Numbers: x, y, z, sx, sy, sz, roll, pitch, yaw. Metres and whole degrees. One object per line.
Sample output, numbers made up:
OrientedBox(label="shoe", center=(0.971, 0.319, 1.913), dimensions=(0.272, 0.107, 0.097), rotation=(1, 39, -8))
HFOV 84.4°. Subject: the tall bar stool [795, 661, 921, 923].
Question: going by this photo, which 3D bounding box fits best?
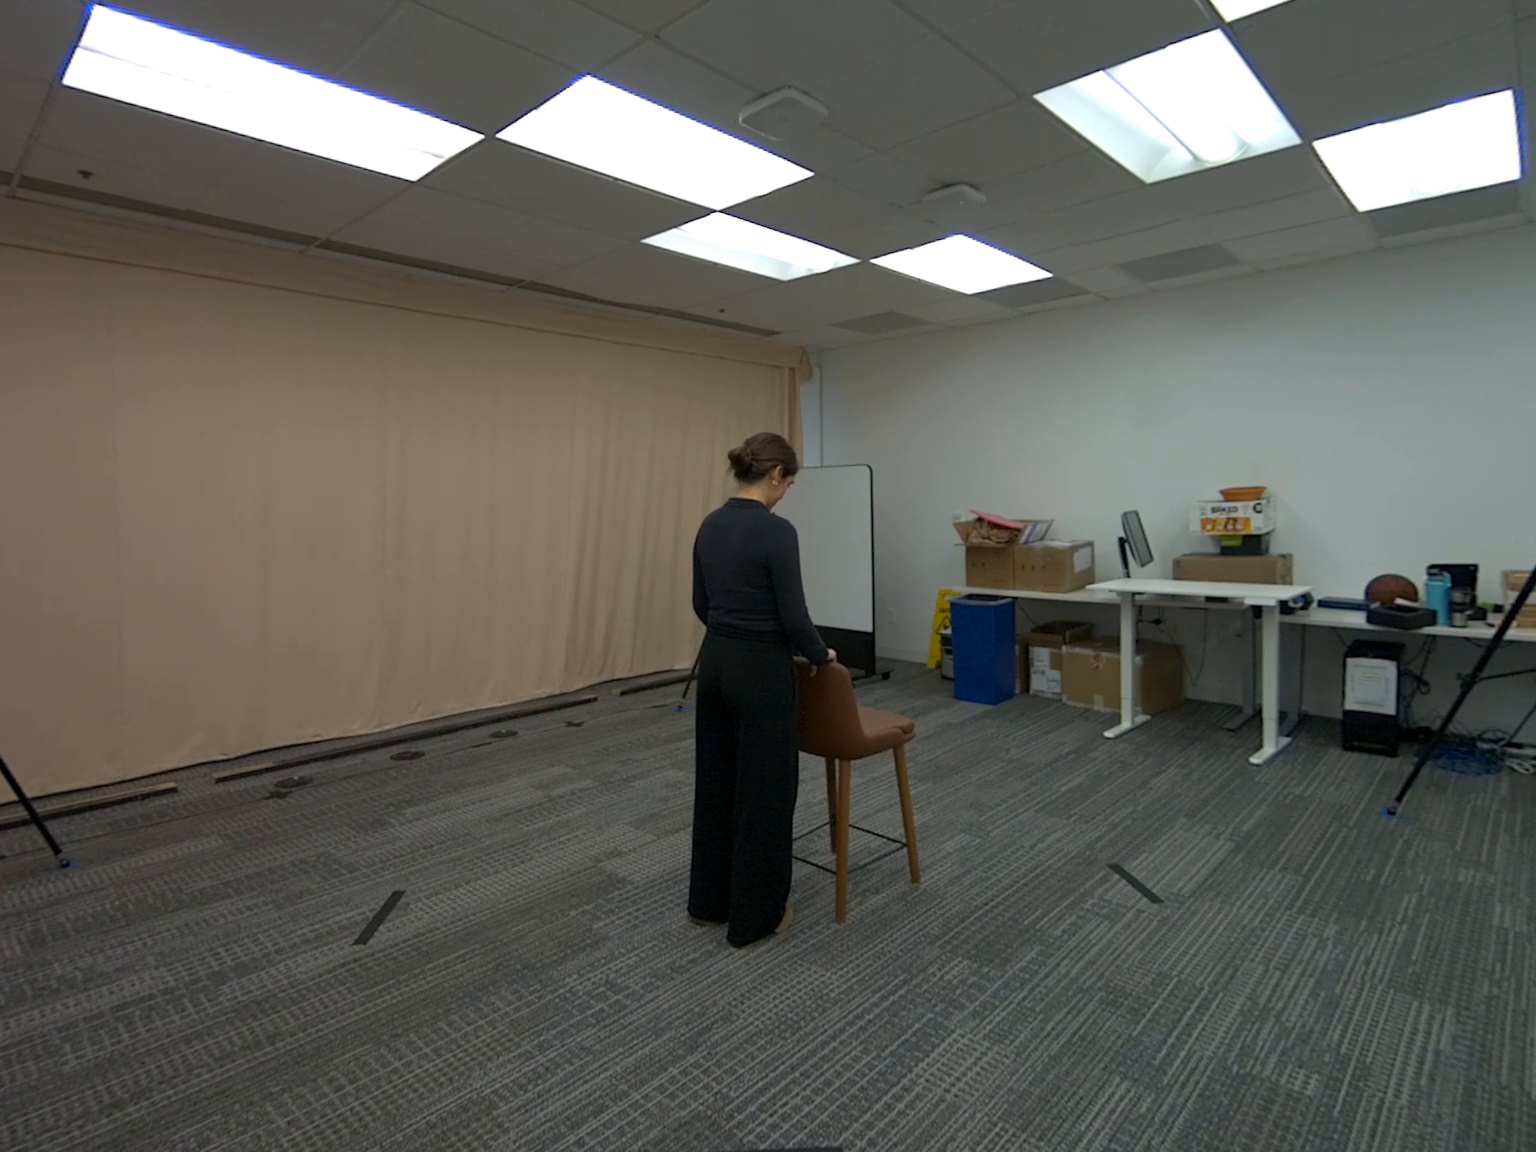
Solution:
OrientedBox(label="tall bar stool", center=(0.246, 0.690, 3.044), dimensions=(0.454, 0.887, 0.472), rotation=(-7, 7, -44))
